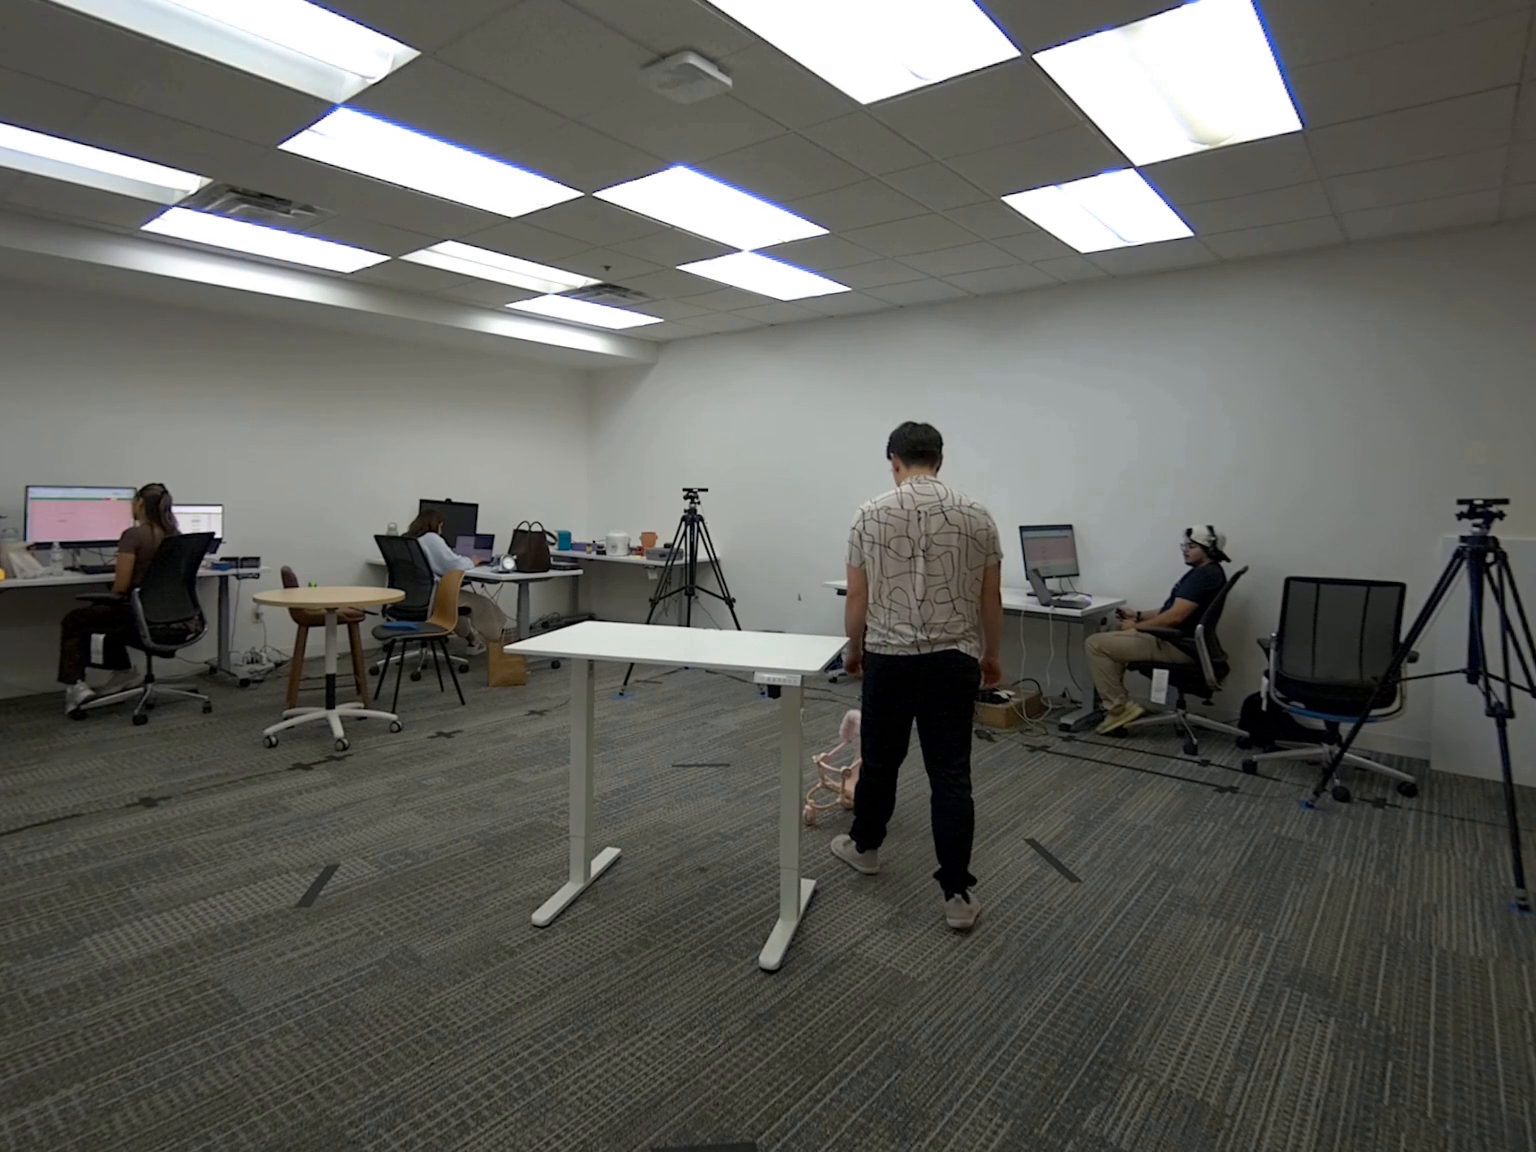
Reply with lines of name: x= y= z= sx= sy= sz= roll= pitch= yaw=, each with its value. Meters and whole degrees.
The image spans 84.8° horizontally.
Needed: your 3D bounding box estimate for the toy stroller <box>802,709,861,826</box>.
toy stroller: x=0.341 y=0.806 z=3.607 sx=0.334 sy=0.535 sz=0.287 roll=16 pitch=-2 yaw=-17
